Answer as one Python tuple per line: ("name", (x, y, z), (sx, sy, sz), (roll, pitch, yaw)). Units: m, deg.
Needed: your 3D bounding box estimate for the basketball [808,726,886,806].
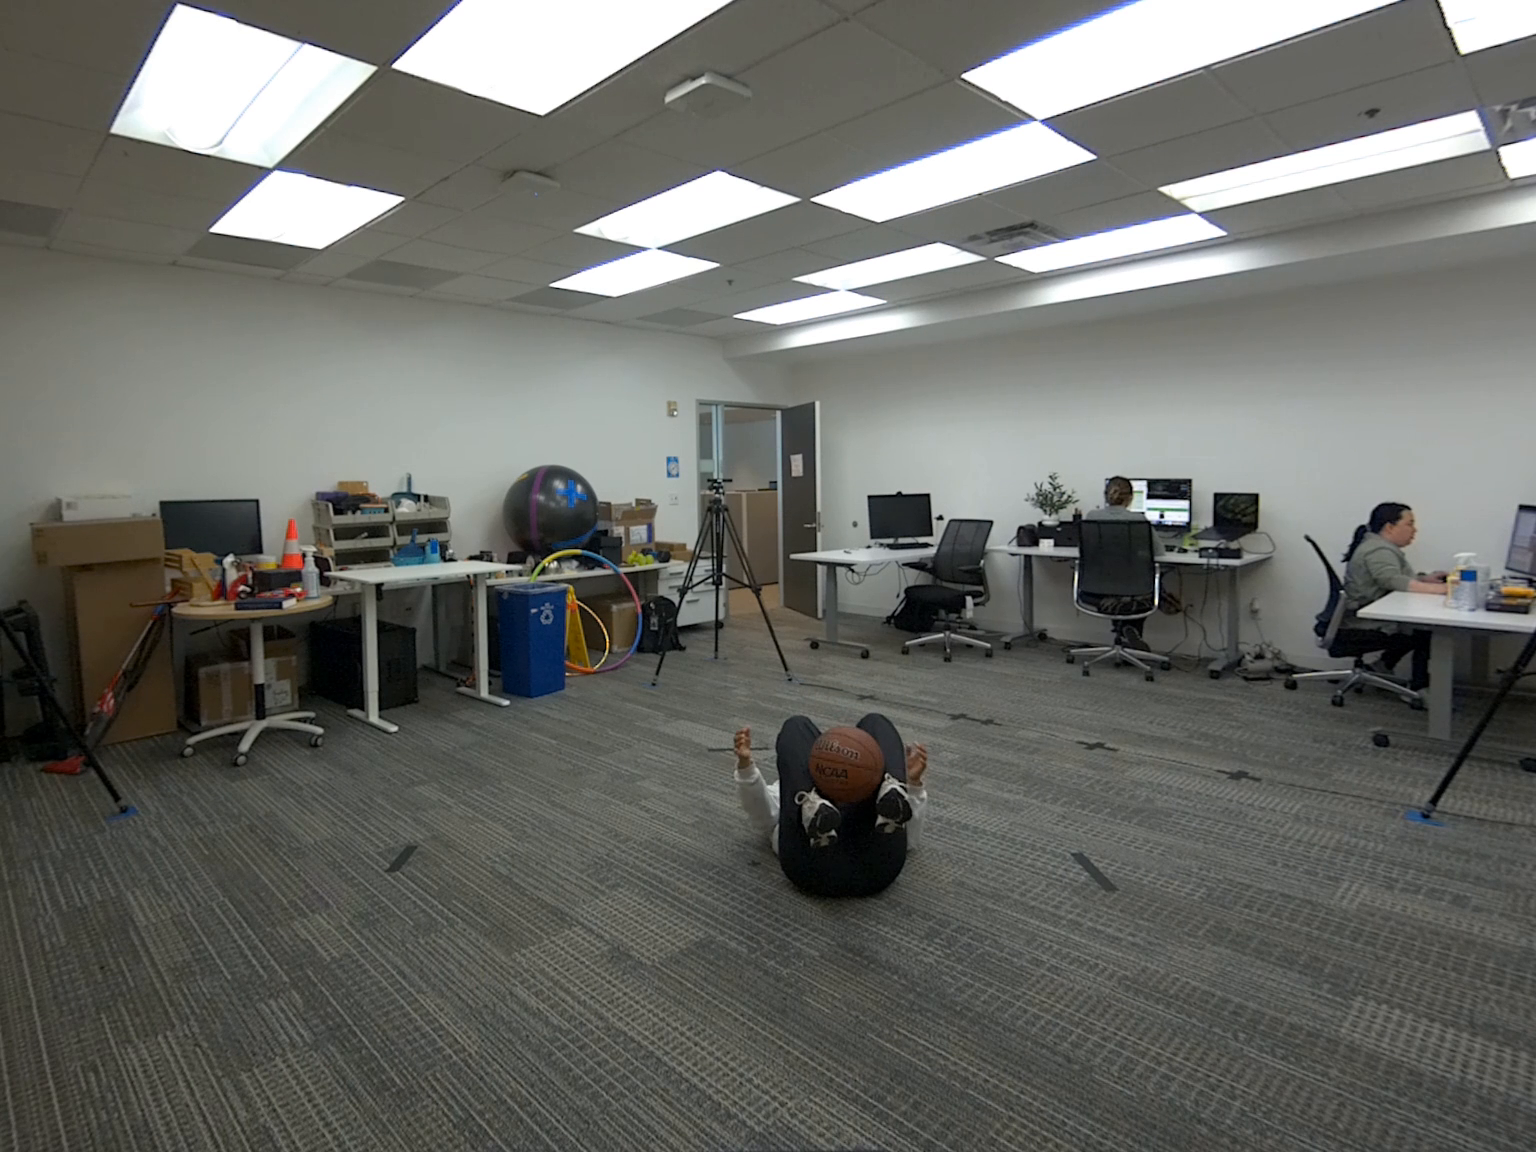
("basketball", (0.259, 0.595, 2.726), (0.236, 0.235, 0.237), (-1, 5, -2))
